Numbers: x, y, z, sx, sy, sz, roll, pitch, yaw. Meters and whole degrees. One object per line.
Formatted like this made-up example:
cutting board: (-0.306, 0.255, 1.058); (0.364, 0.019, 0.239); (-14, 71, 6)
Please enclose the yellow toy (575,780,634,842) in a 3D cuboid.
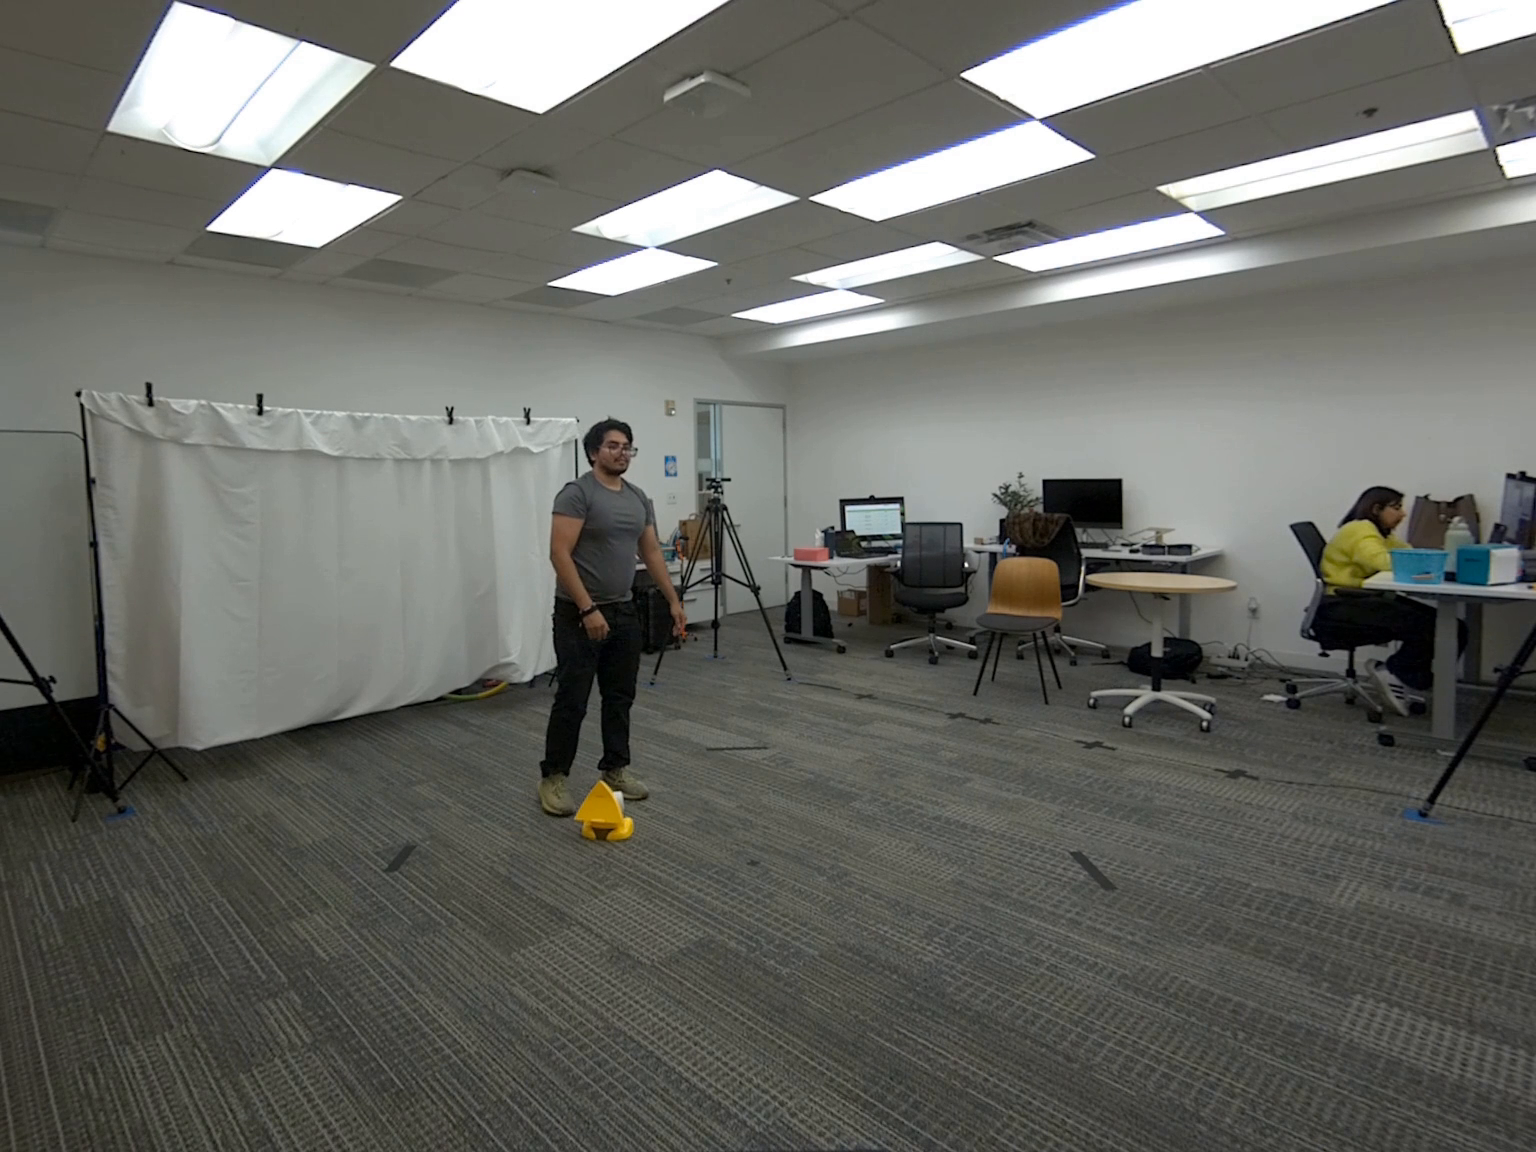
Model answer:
yellow toy: (-0.640, 0.905, 3.397); (0.207, 0.230, 0.191); (-1, 4, 12)
